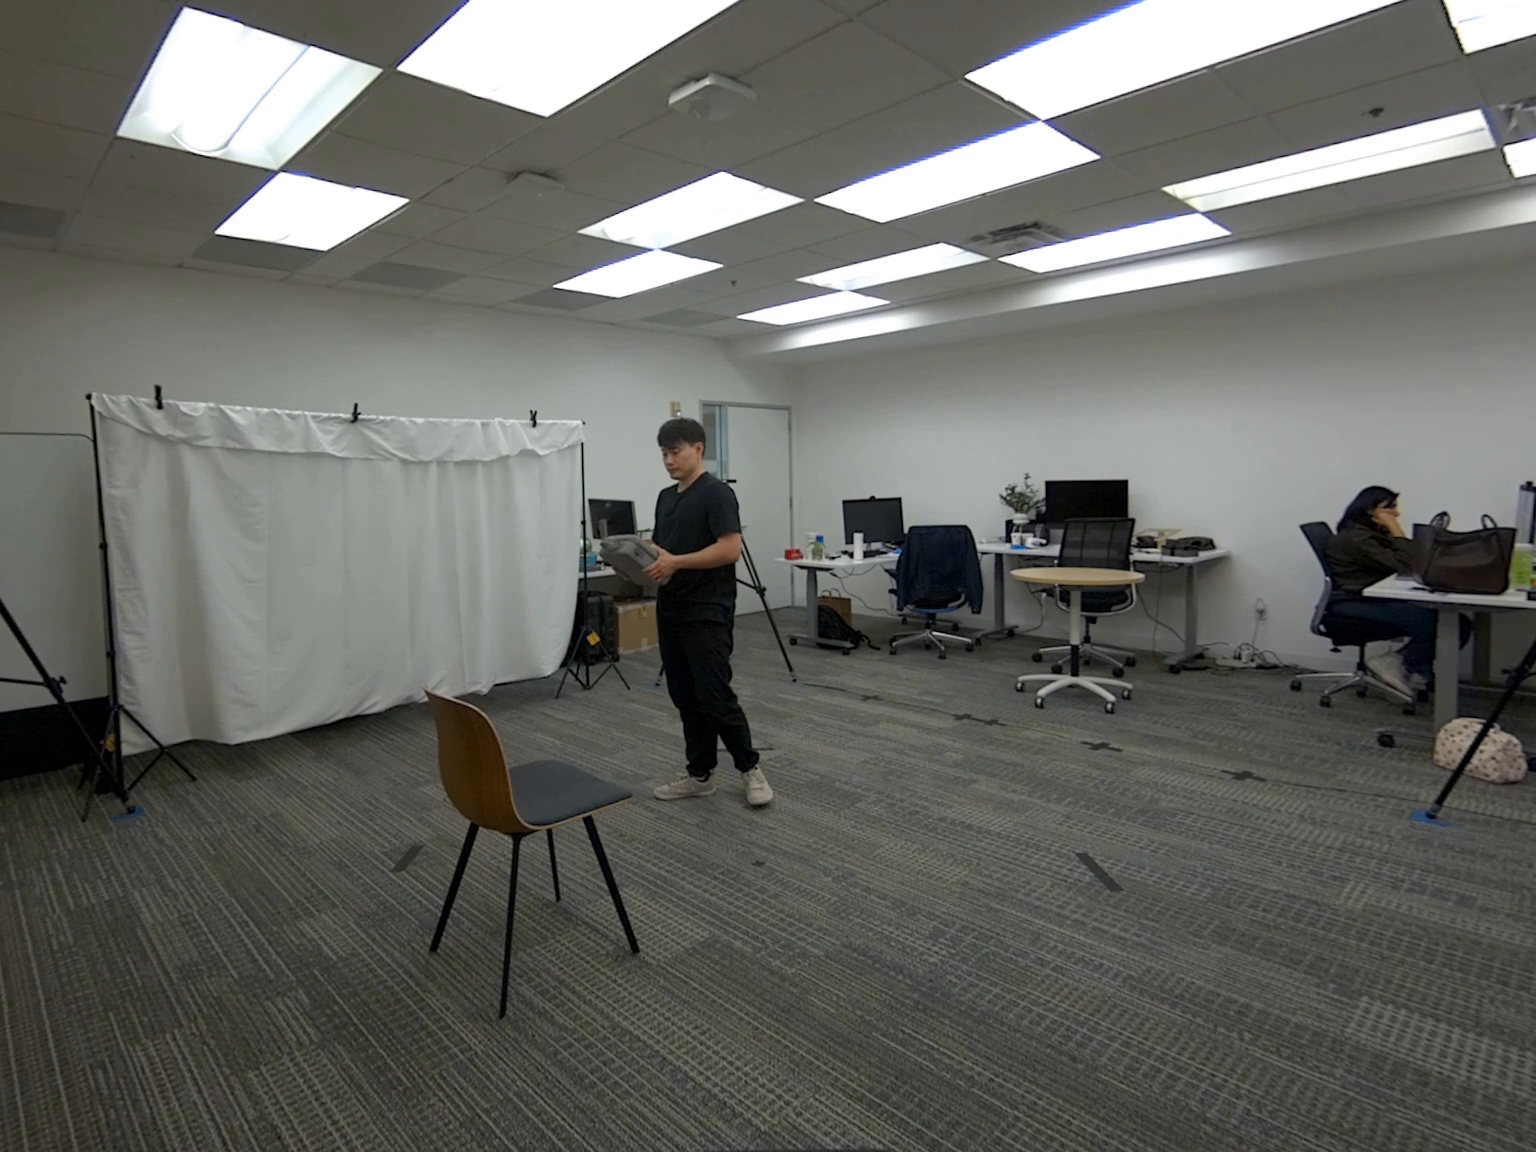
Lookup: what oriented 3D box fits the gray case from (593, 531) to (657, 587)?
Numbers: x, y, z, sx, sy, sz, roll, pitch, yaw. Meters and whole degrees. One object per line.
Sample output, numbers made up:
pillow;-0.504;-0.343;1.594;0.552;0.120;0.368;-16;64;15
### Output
gray case;-0.554;-0.071;3.591;0.252;0.105;0.264;37;-19;-28
